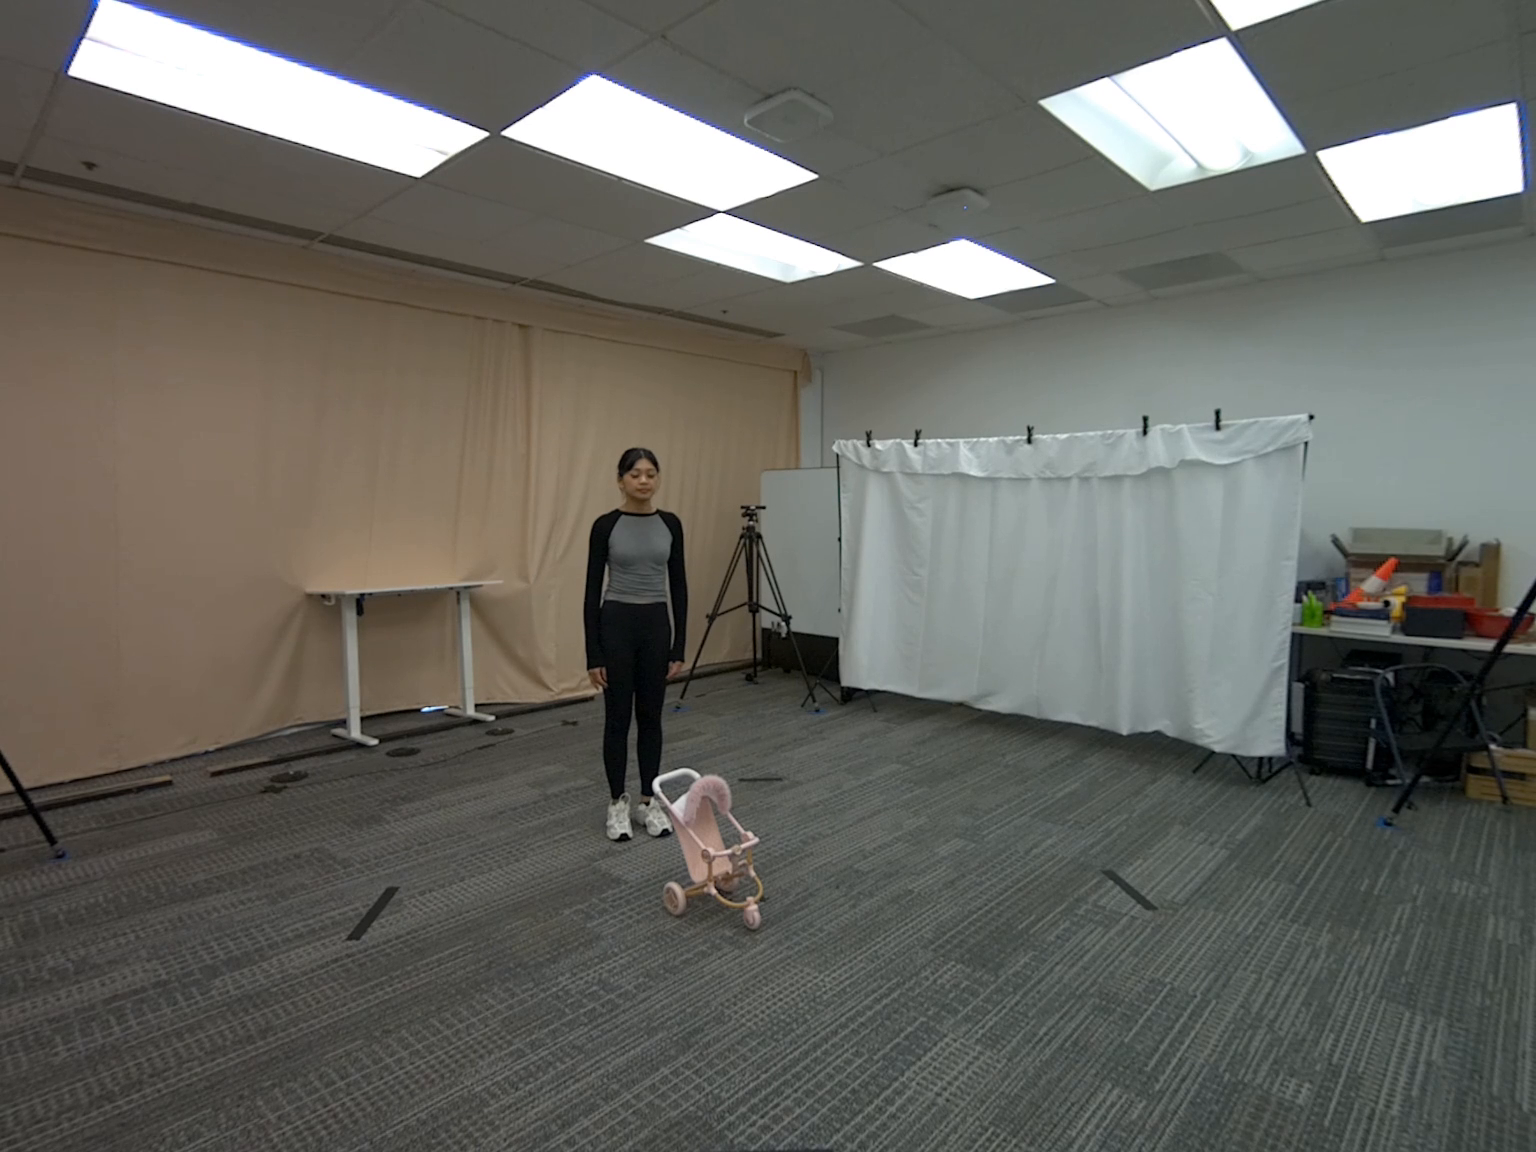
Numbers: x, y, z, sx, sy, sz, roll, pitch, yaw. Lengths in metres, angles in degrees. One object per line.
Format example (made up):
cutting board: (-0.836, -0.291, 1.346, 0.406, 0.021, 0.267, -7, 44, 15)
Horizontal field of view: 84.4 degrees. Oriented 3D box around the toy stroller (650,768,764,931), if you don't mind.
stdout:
toy stroller: (-0.189, 0.929, 2.899, 0.273, 0.539, 0.349, -3, -13, -41)
